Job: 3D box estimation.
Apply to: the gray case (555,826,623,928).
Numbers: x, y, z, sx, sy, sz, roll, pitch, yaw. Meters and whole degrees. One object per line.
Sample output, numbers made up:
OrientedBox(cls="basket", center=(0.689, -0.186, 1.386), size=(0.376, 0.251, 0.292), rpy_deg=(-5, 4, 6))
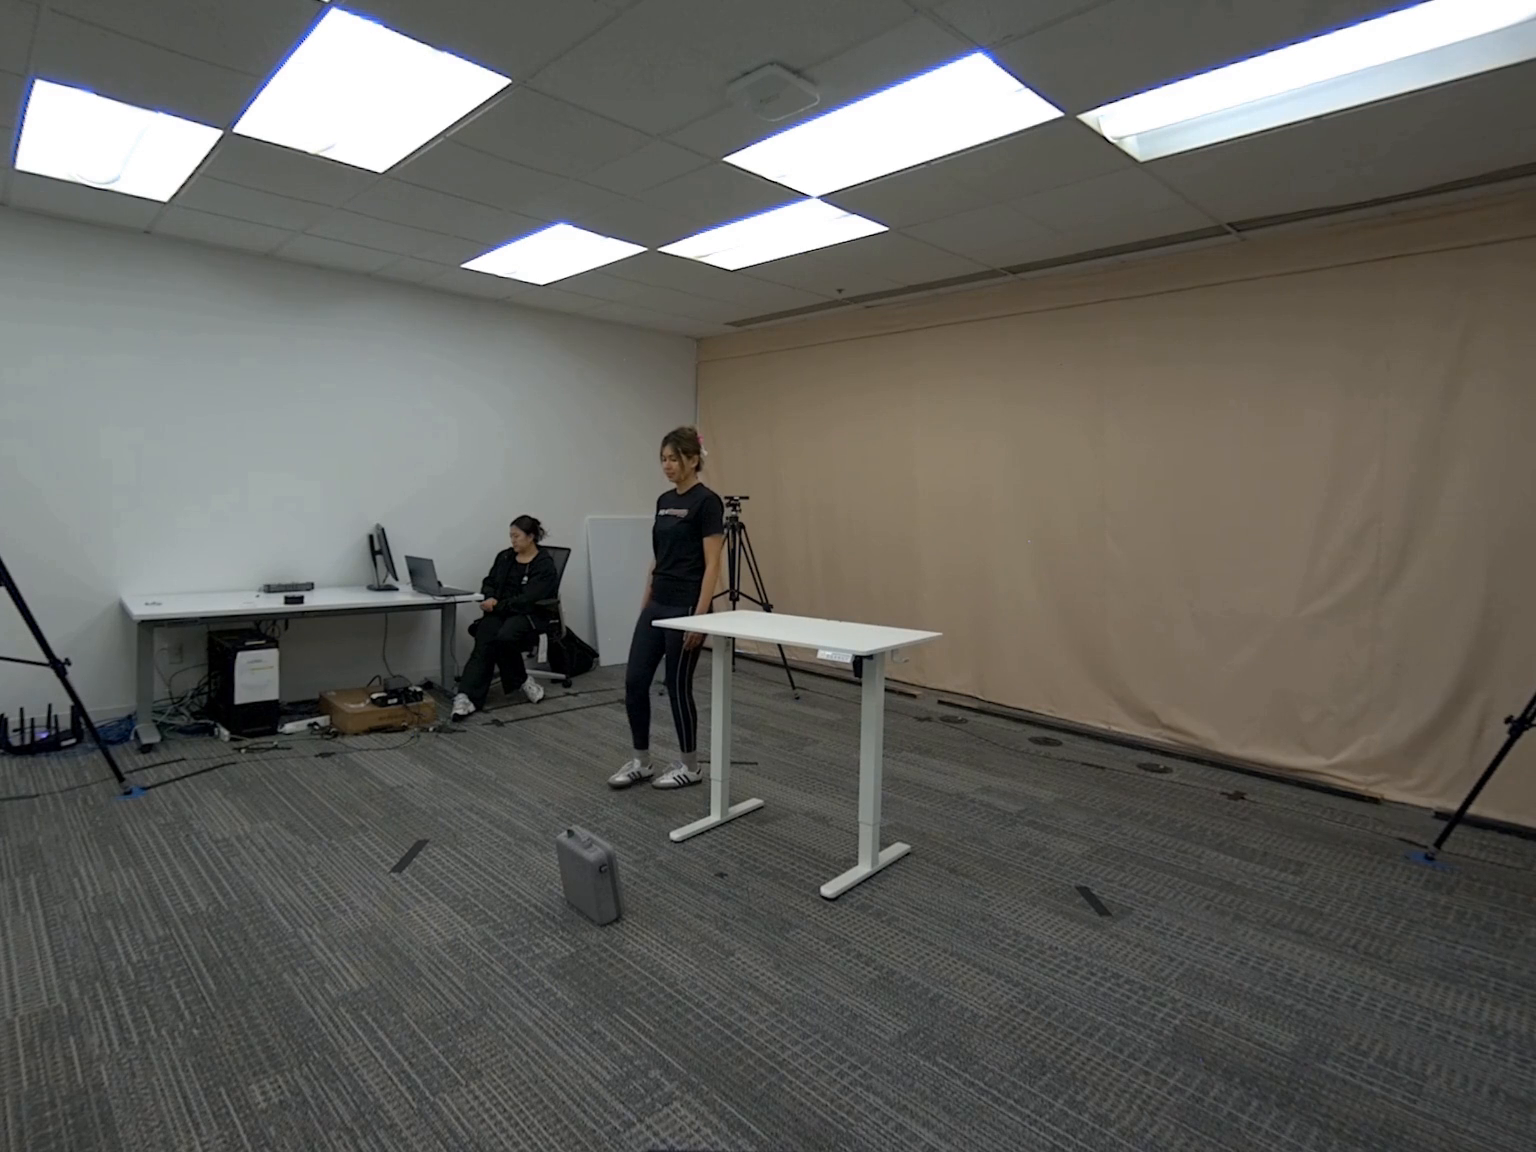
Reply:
OrientedBox(cls="gray case", center=(-0.608, 0.993, 2.796), size=(0.102, 0.258, 0.263), rpy_deg=(-15, 13, -38))
